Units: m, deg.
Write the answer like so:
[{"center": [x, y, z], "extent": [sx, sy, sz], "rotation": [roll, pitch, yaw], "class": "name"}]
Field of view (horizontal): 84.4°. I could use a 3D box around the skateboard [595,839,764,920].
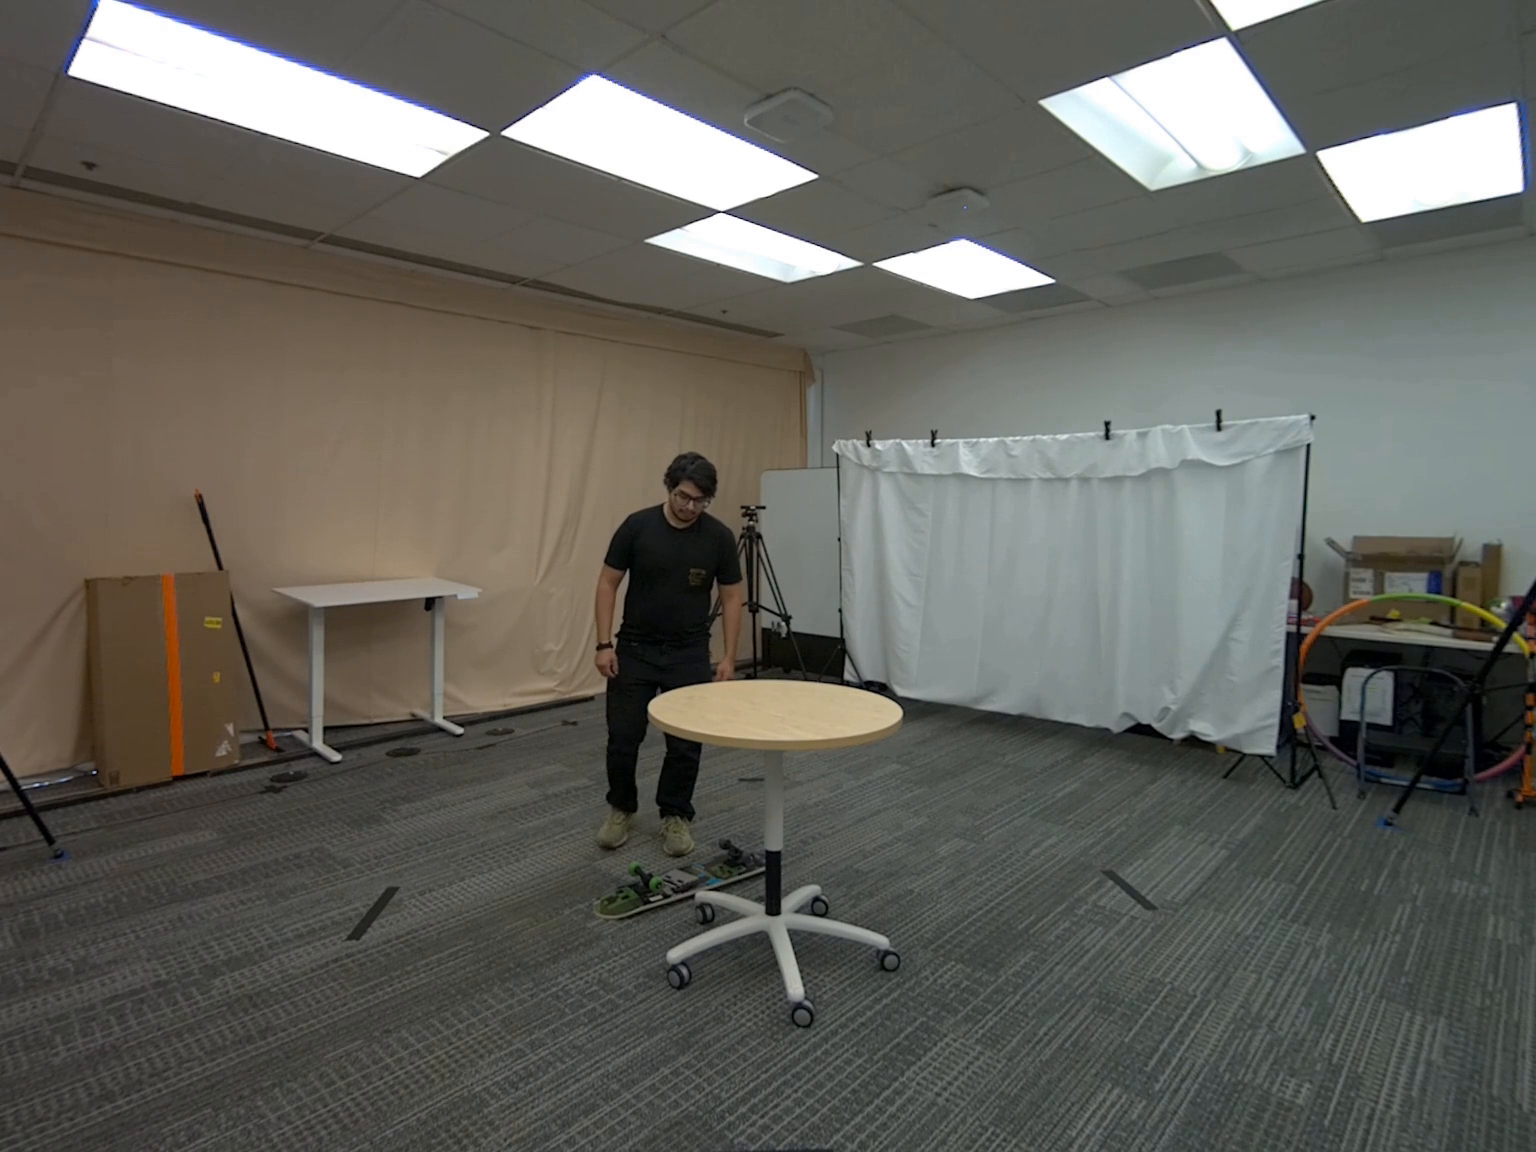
[{"center": [-0.279, 1.087, 3.092], "extent": [0.763, 0.110, 0.199], "rotation": [-4, 4, -35], "class": "skateboard"}]
